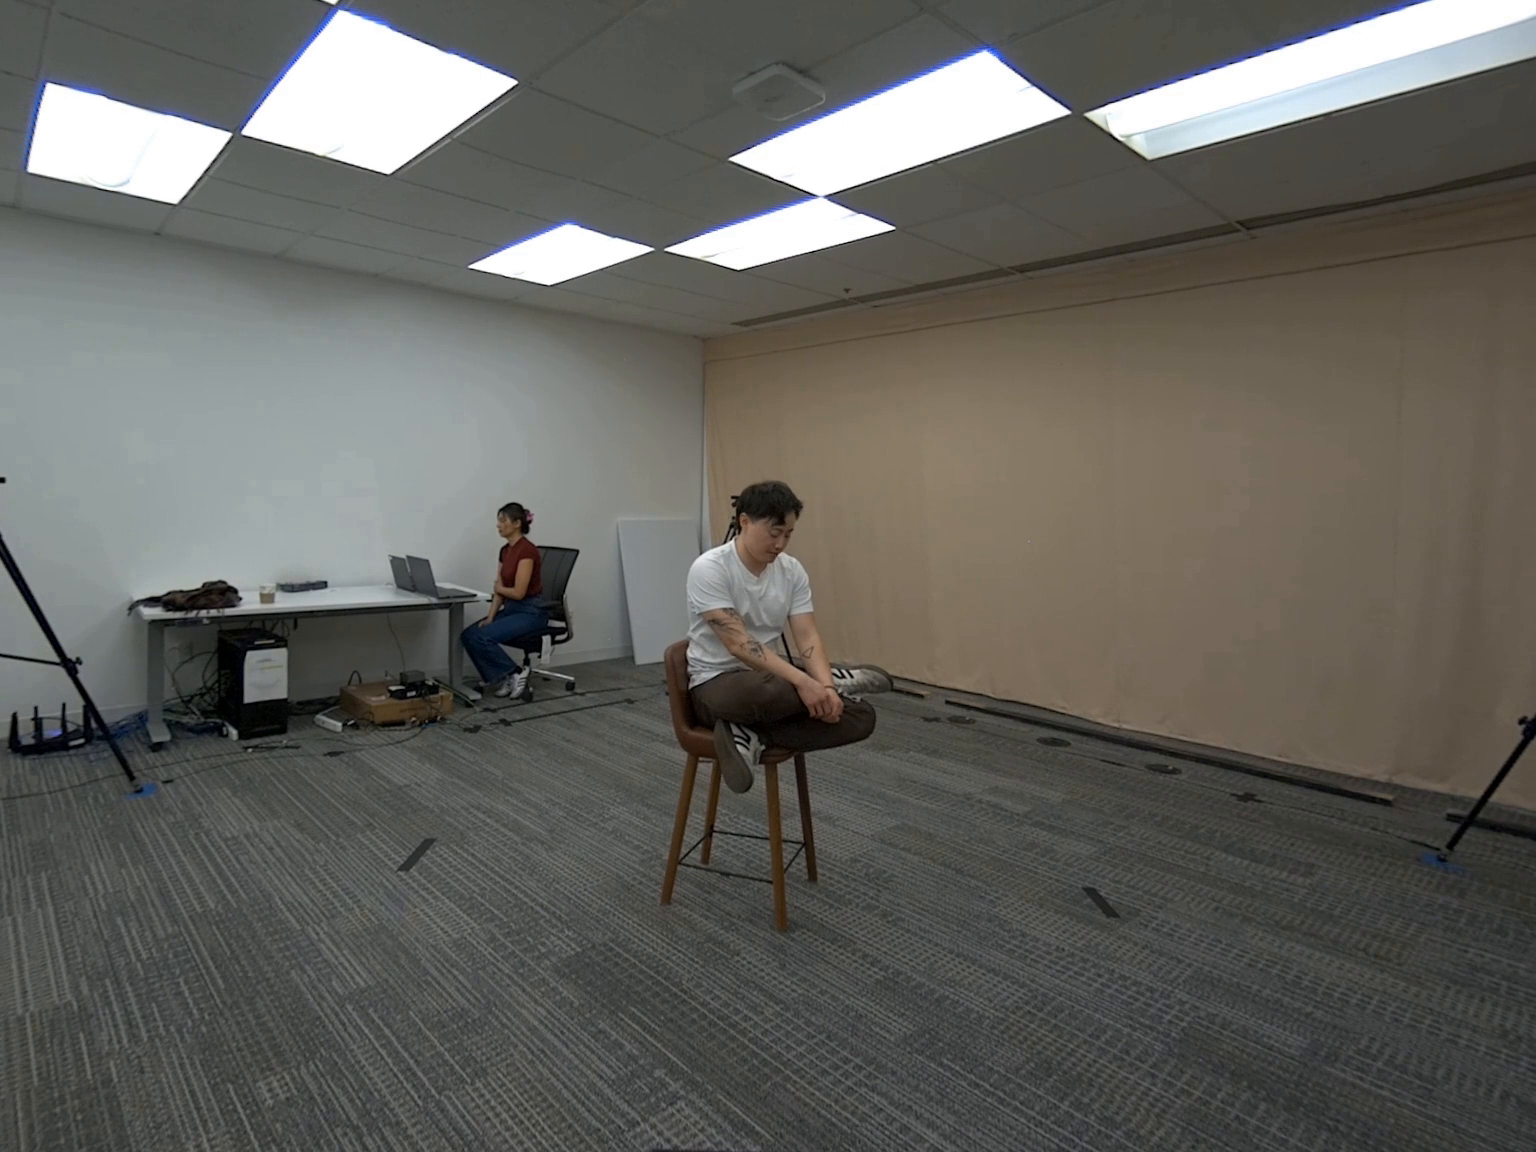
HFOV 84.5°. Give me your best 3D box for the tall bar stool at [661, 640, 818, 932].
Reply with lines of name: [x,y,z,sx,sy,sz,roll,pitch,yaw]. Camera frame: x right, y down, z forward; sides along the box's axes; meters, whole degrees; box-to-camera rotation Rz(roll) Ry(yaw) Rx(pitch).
tall bar stool: [-0.104,0.687,2.944,0.475,0.888,0.450,0,3,21]
